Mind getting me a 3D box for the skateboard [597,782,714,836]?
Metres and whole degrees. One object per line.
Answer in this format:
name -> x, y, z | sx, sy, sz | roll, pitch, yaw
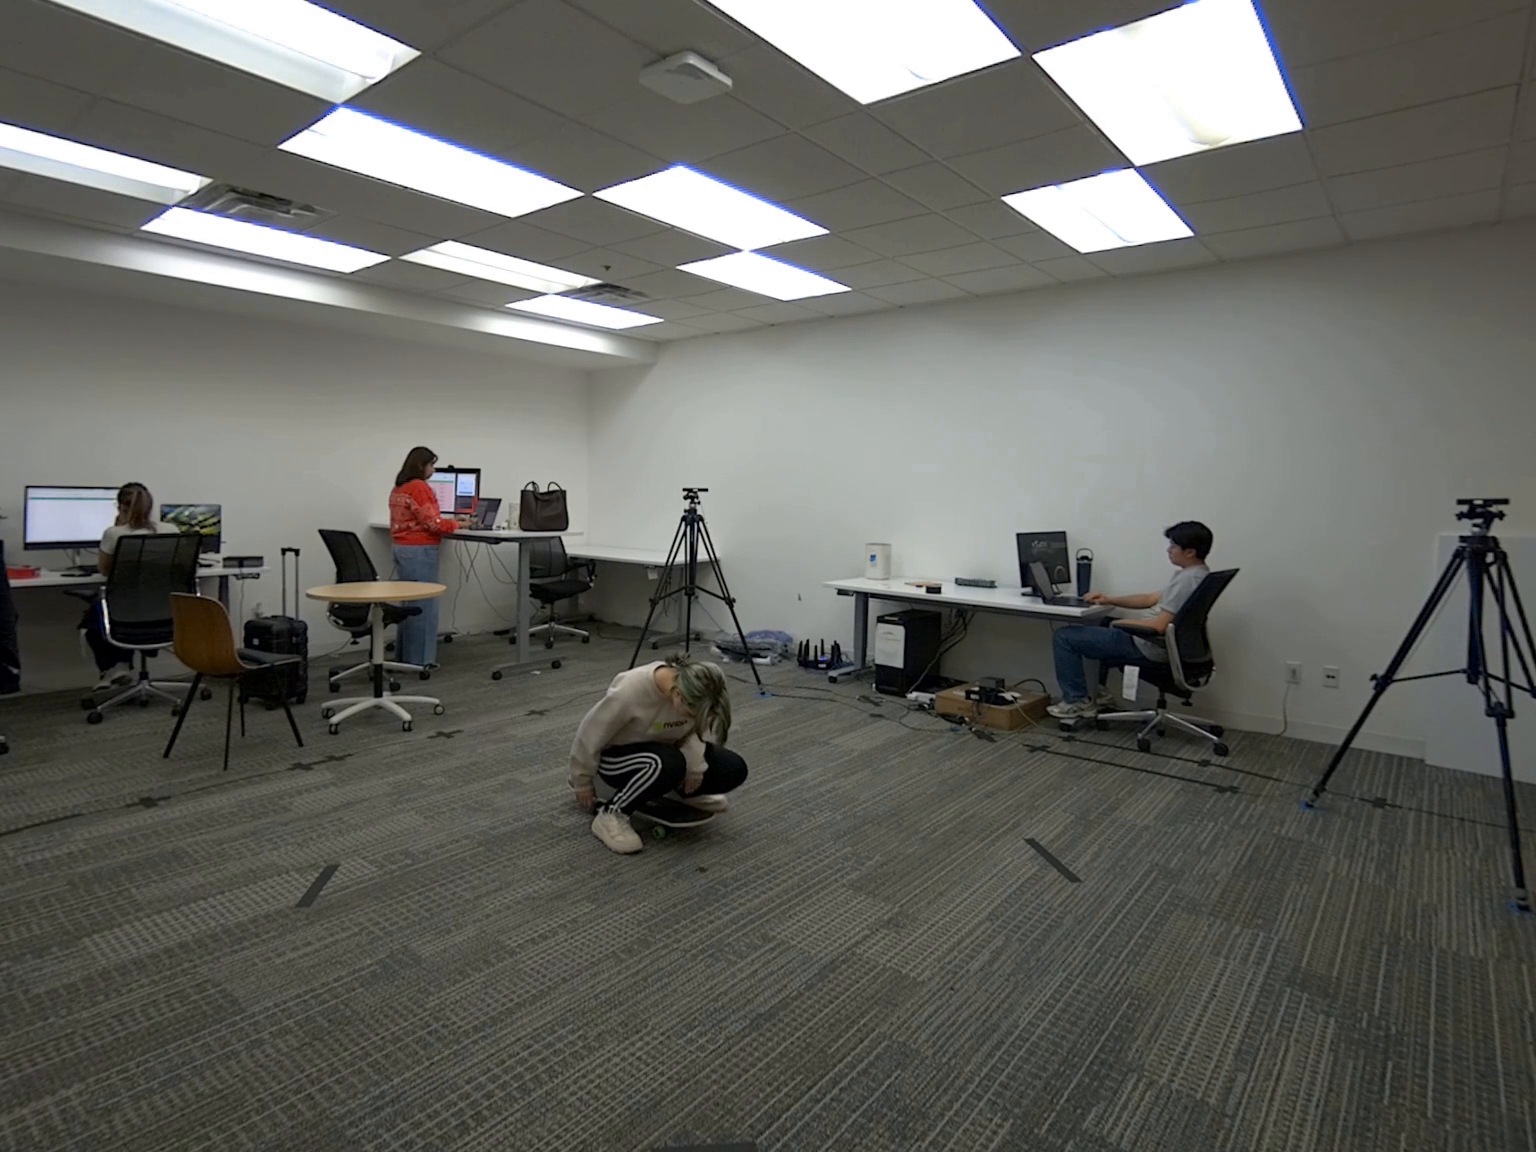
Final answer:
skateboard -> -0.556, 0.961, 3.551 | 0.812, 0.110, 0.188 | 5, 7, 38
